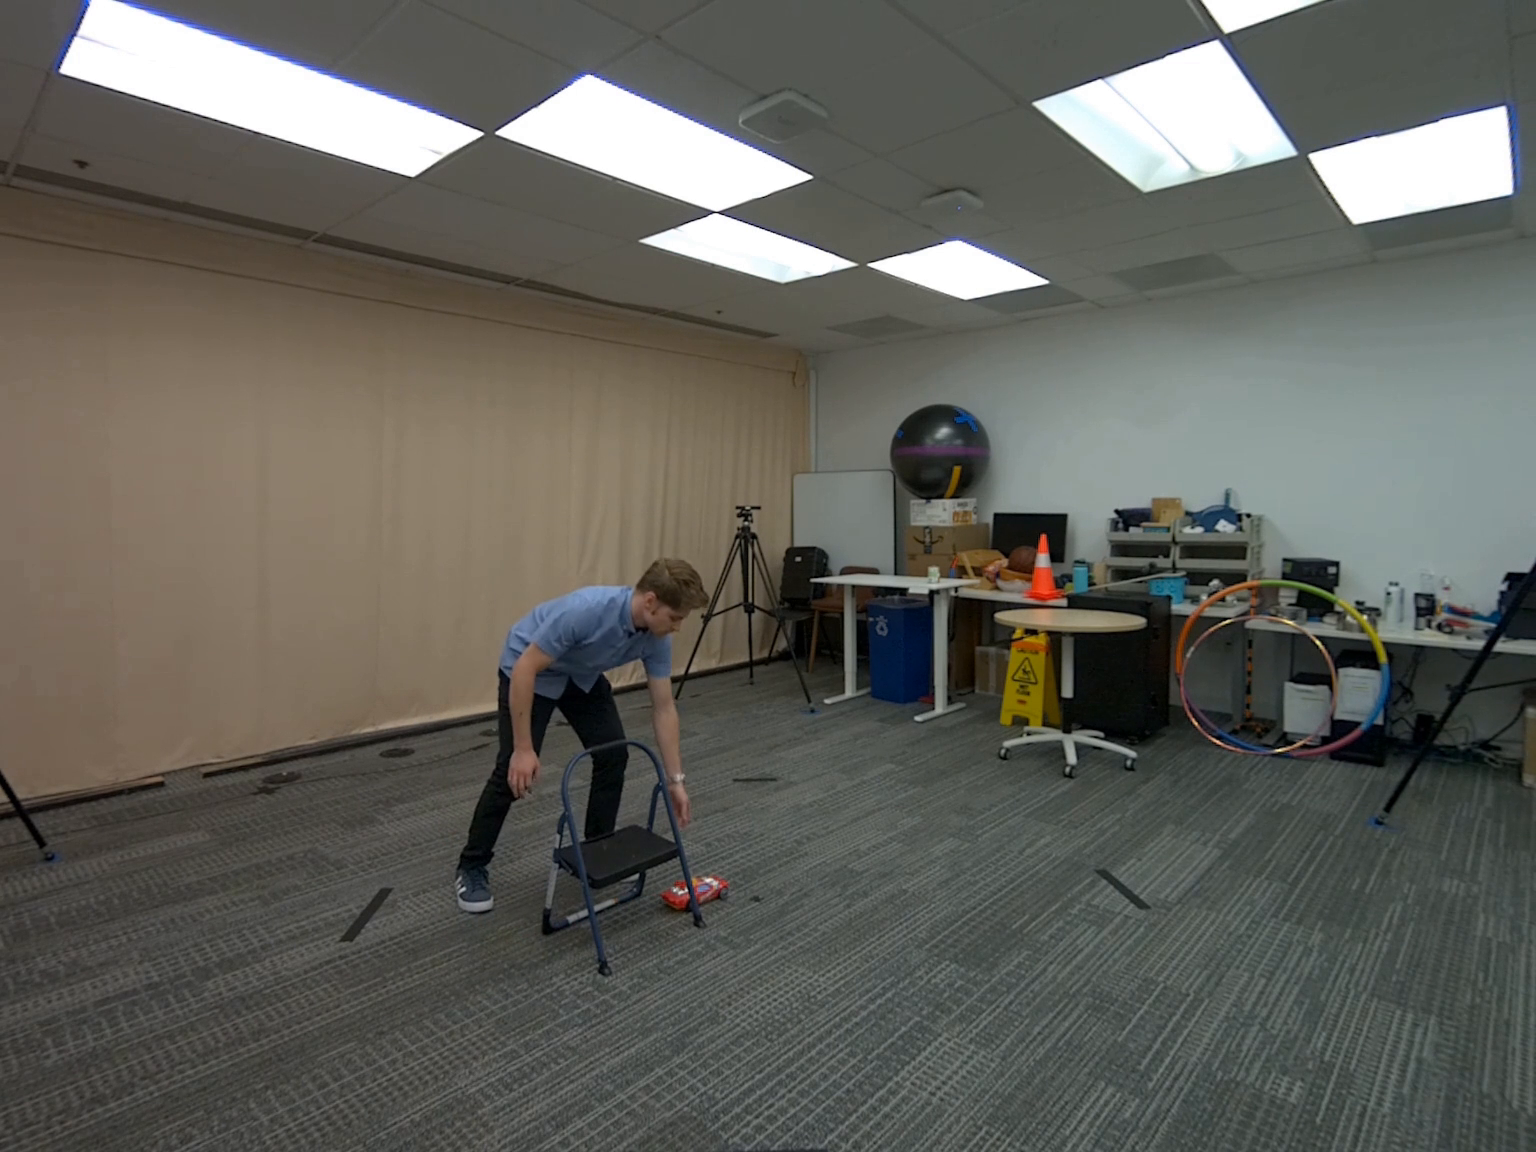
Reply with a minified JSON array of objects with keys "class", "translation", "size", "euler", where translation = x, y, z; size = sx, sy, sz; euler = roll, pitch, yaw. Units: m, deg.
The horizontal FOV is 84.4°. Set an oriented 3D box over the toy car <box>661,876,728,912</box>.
[{"class":"toy car","translation":[-0.260,1.117,2.962],"size":[0.246,0.083,0.134],"euler":[10,-4,-42]}]
